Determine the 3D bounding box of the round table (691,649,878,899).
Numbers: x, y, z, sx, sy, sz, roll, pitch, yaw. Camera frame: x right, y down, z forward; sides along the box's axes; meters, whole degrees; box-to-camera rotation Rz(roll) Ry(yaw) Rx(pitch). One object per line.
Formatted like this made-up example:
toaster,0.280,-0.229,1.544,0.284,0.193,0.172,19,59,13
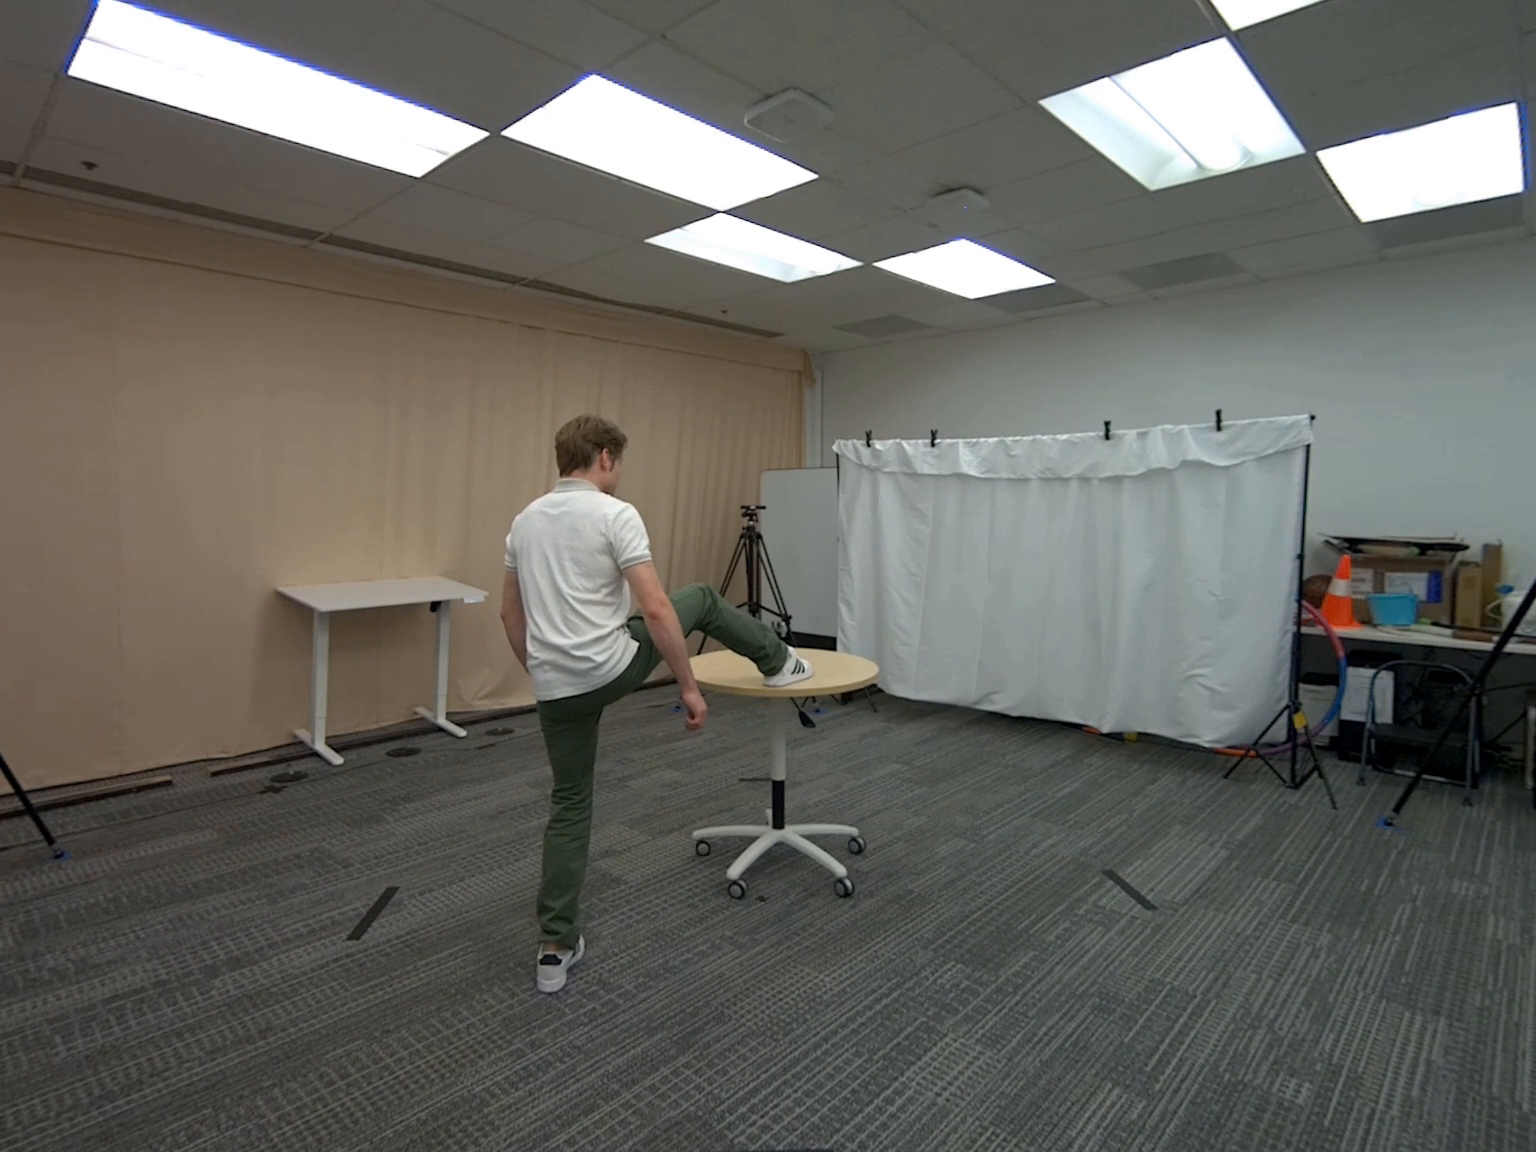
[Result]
round table,0.051,0.736,3.261,0.763,0.792,0.767,0,4,-2
